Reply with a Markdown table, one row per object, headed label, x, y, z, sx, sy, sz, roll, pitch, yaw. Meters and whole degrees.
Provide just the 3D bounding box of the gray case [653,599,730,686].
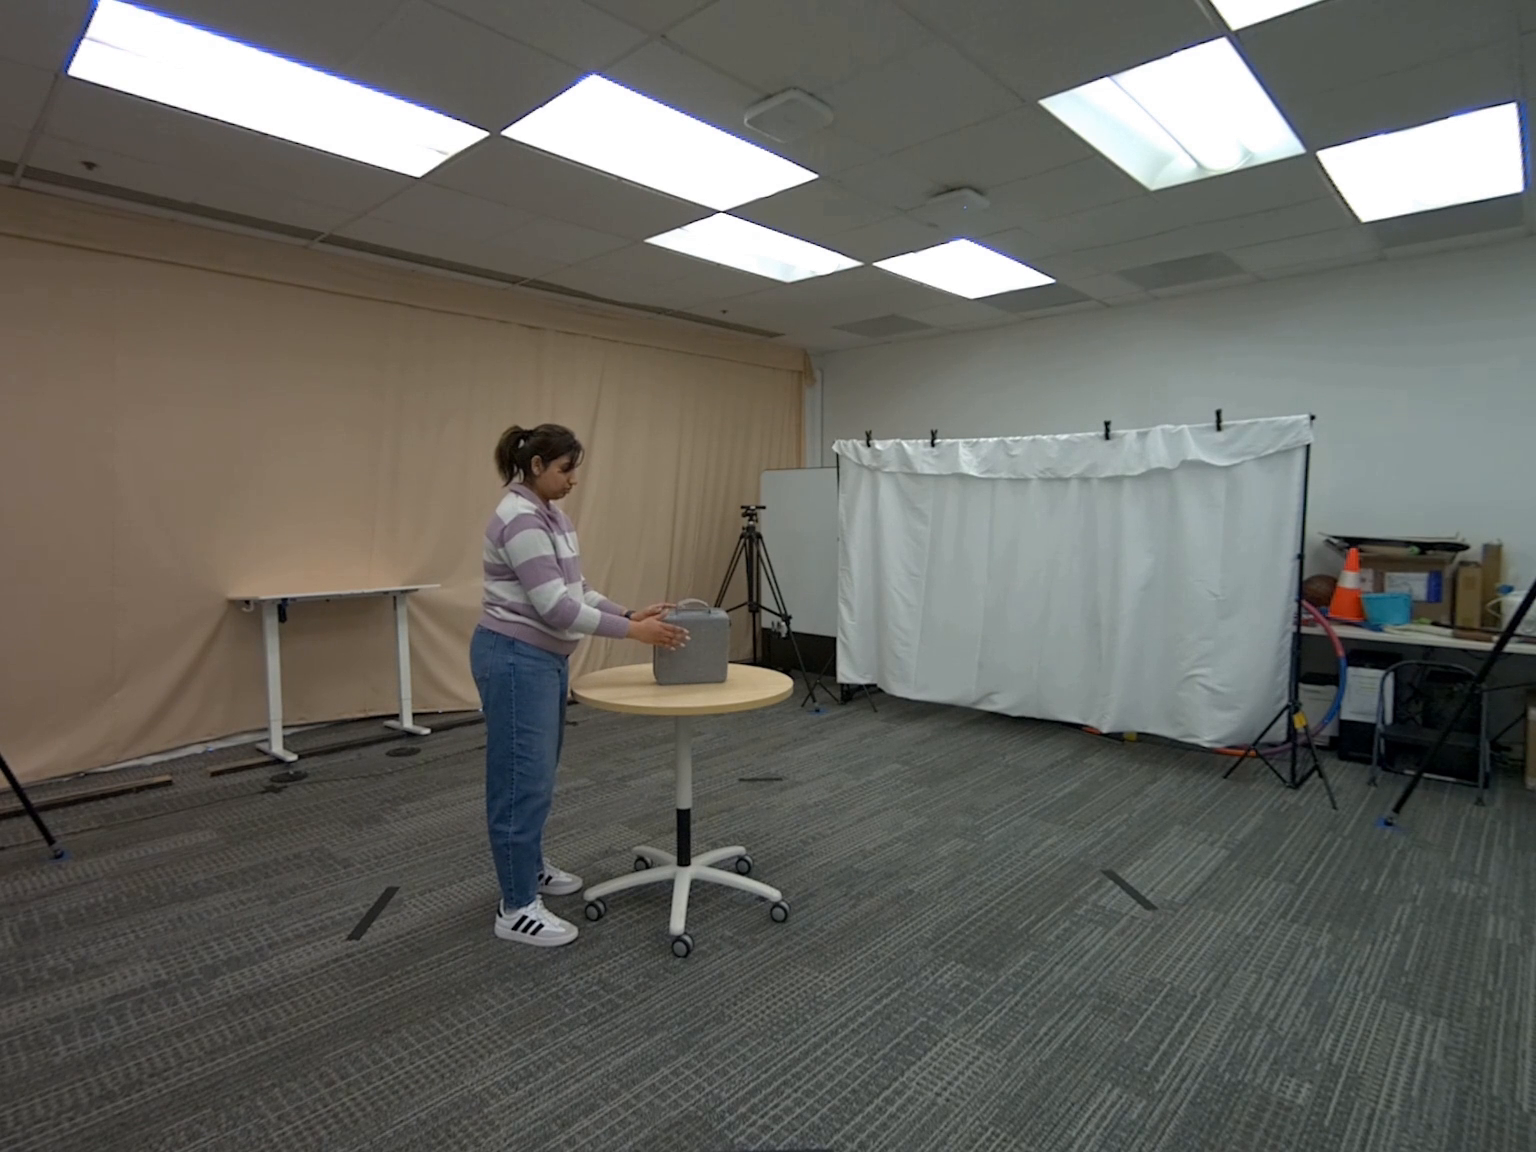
| label | x | y | z | sx | sy | sz | roll | pitch | yaw |
| --- | --- | --- | --- | --- | --- | --- | --- | --- | --- |
| gray case | -0.262 | 0.241 | 2.883 | 0.255 | 0.258 | 0.106 | -1 | 14 | -7 |
